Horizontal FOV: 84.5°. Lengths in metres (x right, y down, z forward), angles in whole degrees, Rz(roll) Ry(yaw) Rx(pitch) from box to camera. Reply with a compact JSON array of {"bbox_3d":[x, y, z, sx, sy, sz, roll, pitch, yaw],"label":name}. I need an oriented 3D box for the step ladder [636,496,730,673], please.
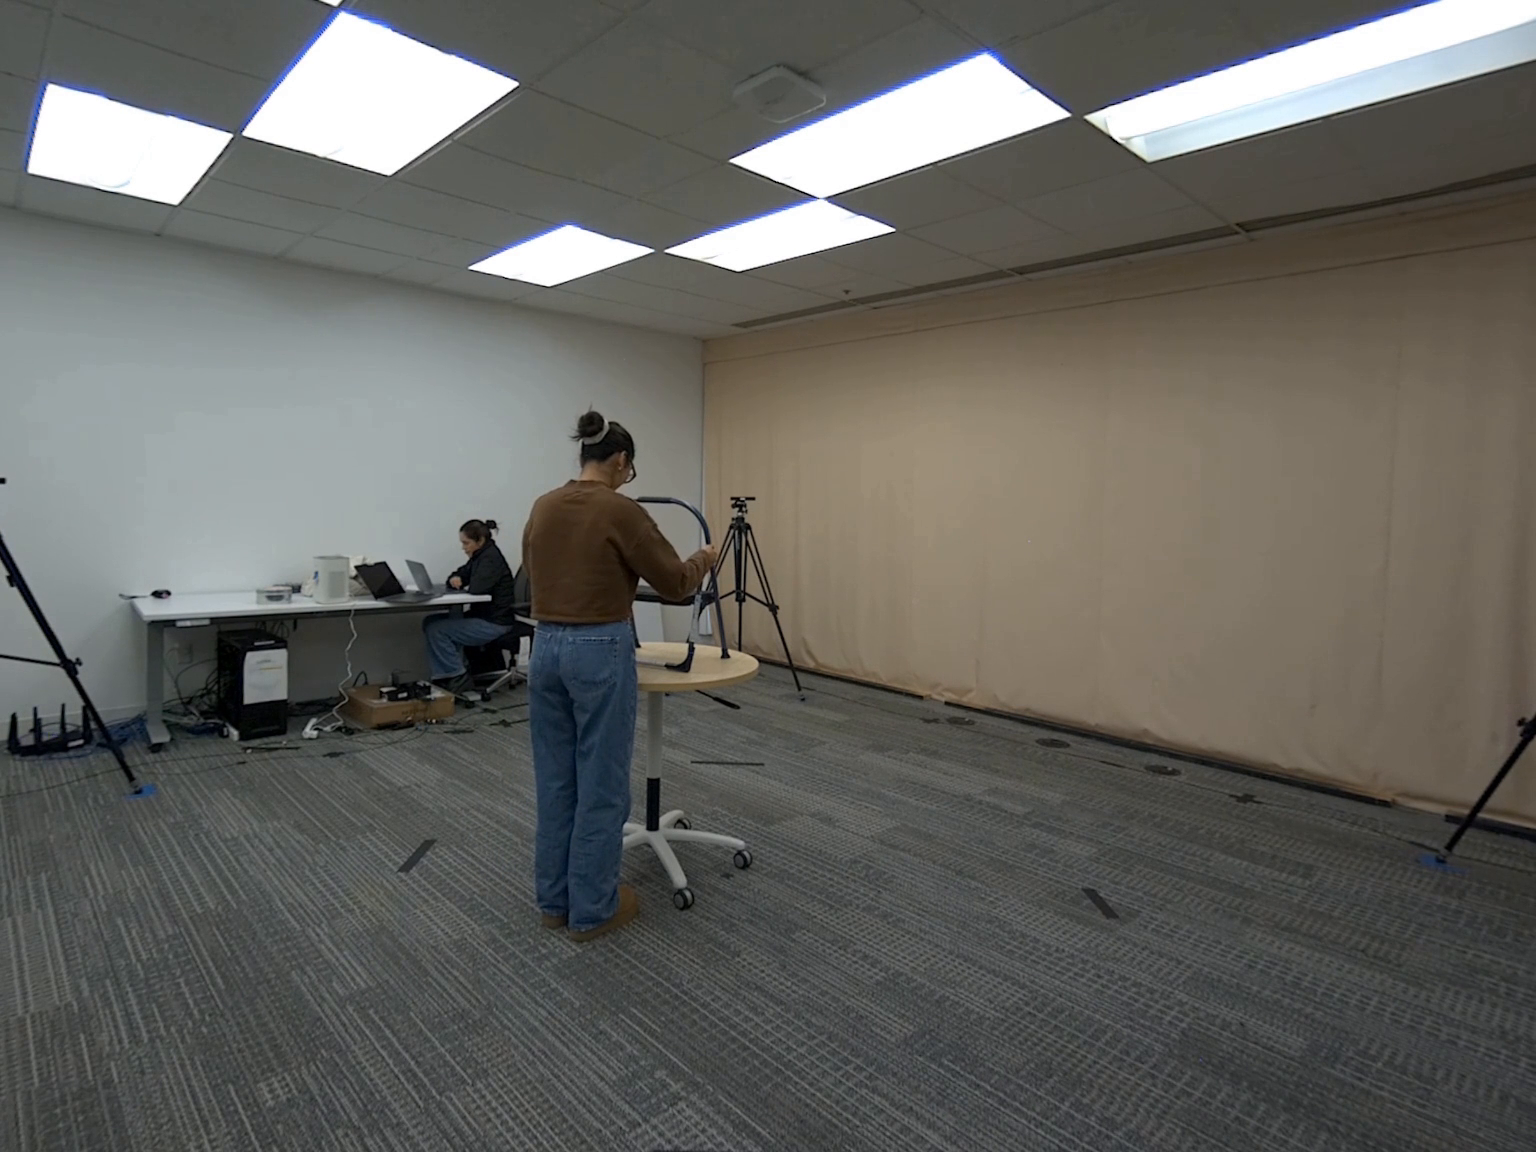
[{"bbox_3d":[-0.401,0.014,3.150,0.439,0.605,0.343,4,4,23],"label":"step ladder"}]
